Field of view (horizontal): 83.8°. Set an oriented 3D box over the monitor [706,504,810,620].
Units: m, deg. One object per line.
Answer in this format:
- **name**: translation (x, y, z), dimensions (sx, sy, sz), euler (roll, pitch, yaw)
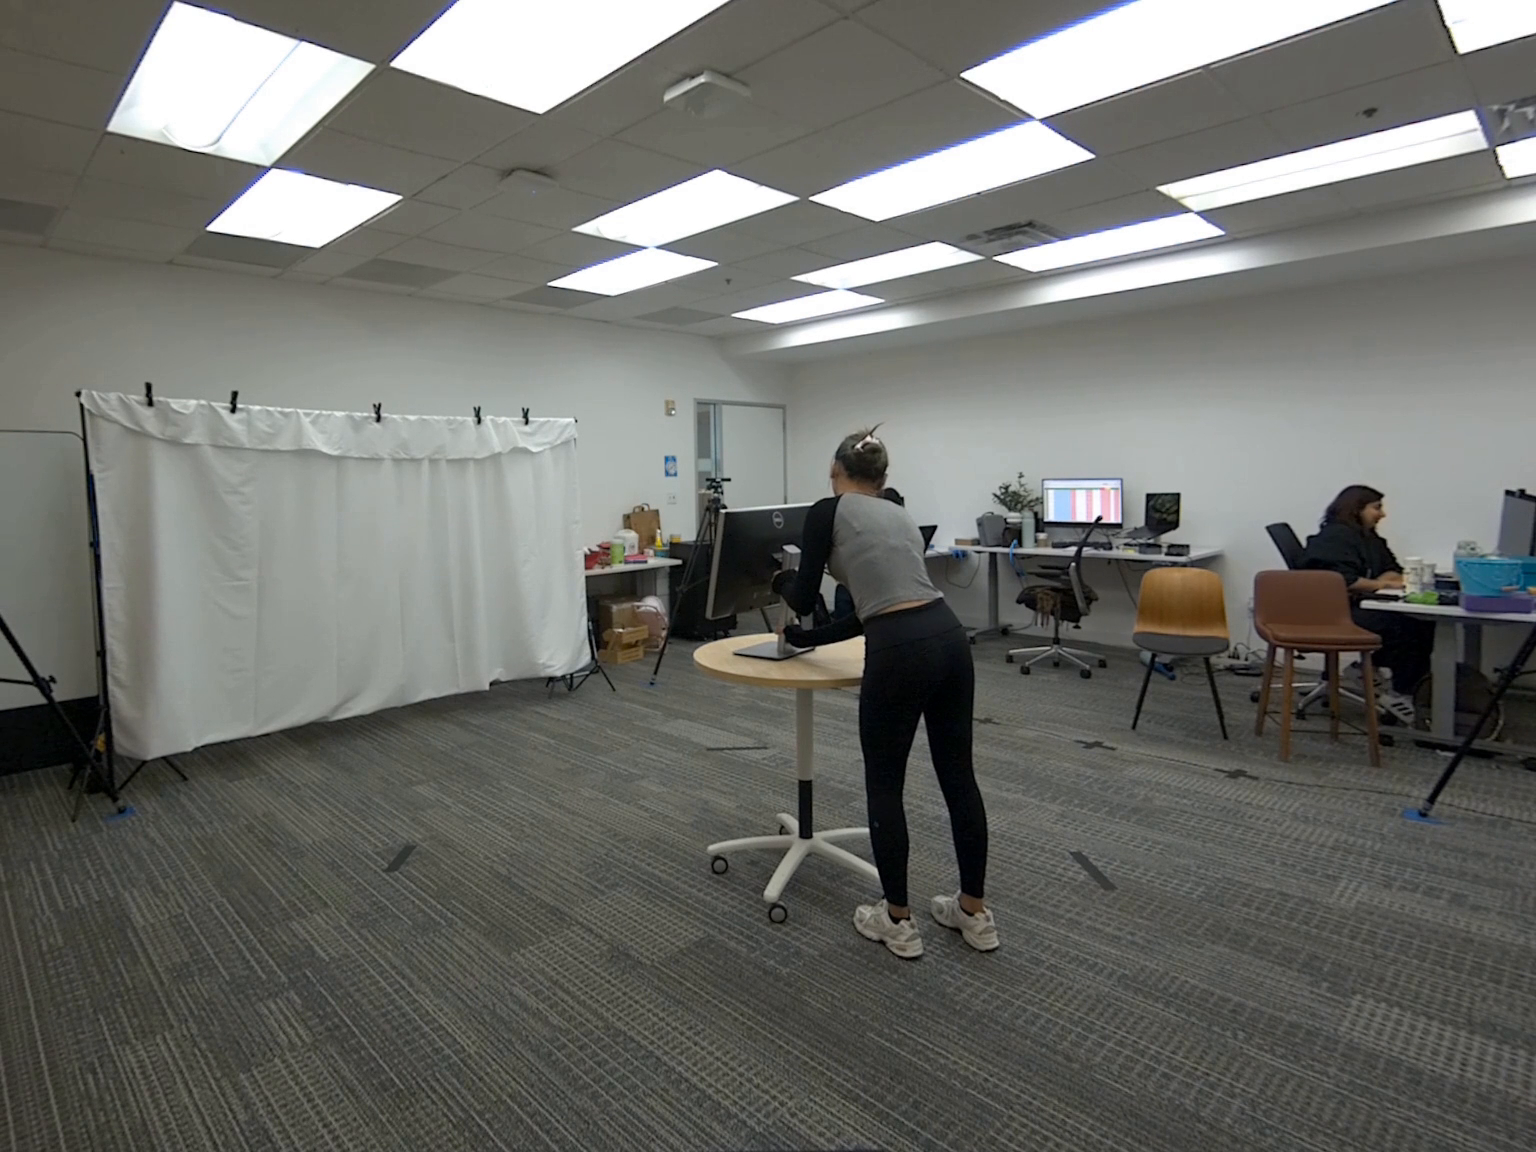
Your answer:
- **monitor**: translation (0.028, 0.021, 2.951), dimensions (0.192, 0.521, 0.526), euler (-3, 3, 35)
